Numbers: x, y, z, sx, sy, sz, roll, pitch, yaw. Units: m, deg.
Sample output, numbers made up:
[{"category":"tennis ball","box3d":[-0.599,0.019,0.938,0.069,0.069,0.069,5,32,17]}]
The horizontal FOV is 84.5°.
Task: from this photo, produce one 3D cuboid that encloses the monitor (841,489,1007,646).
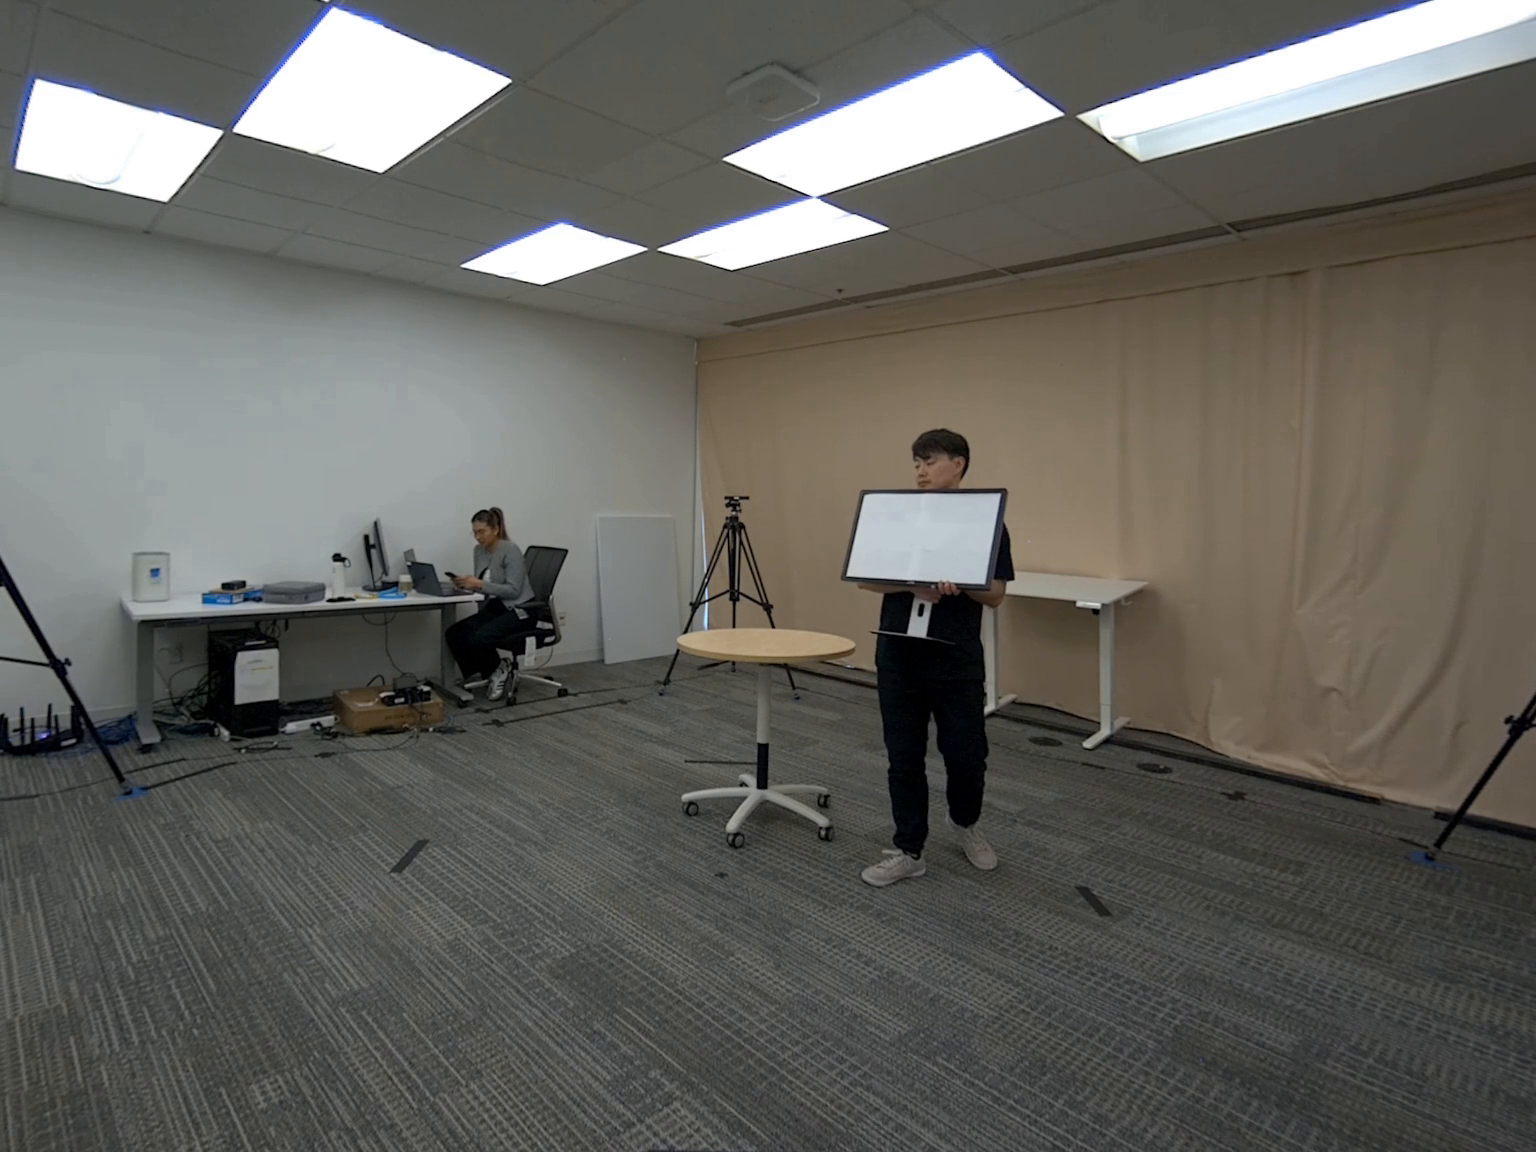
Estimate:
[{"category":"monitor","box3d":[0.538,-0.045,2.980,0.552,0.525,0.182,3,-8,37]}]
